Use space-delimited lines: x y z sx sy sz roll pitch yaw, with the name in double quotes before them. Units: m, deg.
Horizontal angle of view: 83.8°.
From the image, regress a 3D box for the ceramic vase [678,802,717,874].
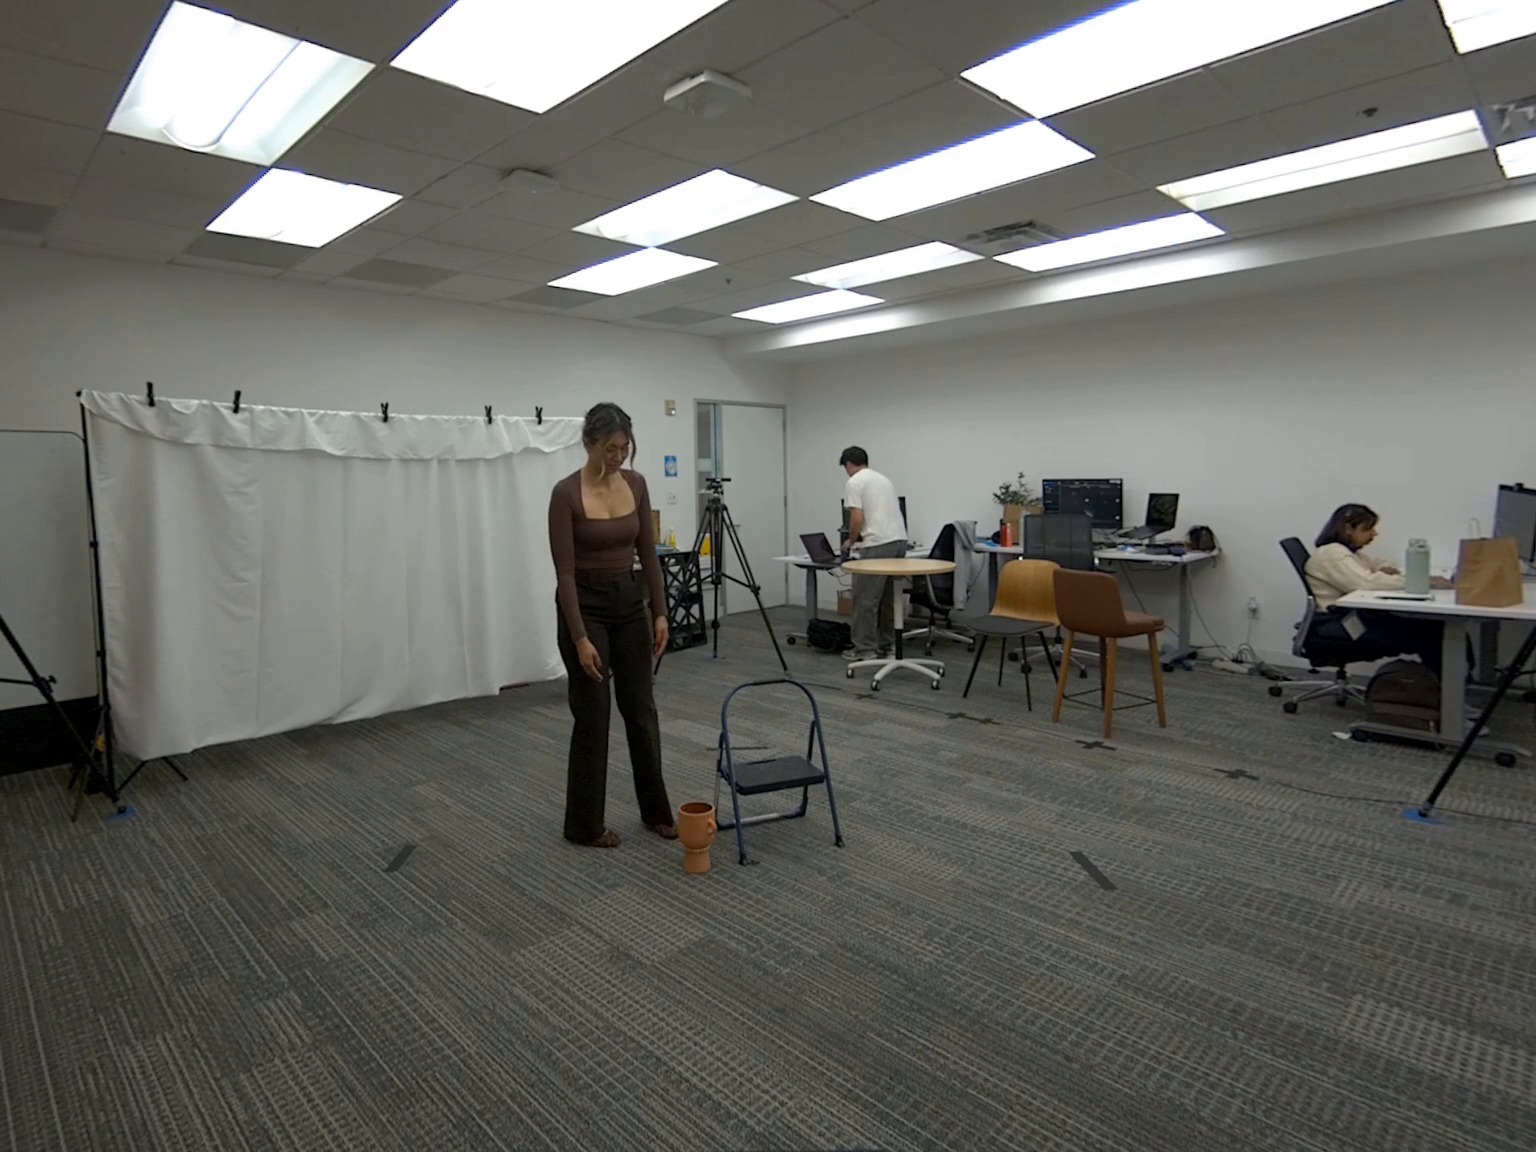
"ceramic vase" -0.250 0.935 3.067 0.133 0.219 0.161 -1 5 -11
